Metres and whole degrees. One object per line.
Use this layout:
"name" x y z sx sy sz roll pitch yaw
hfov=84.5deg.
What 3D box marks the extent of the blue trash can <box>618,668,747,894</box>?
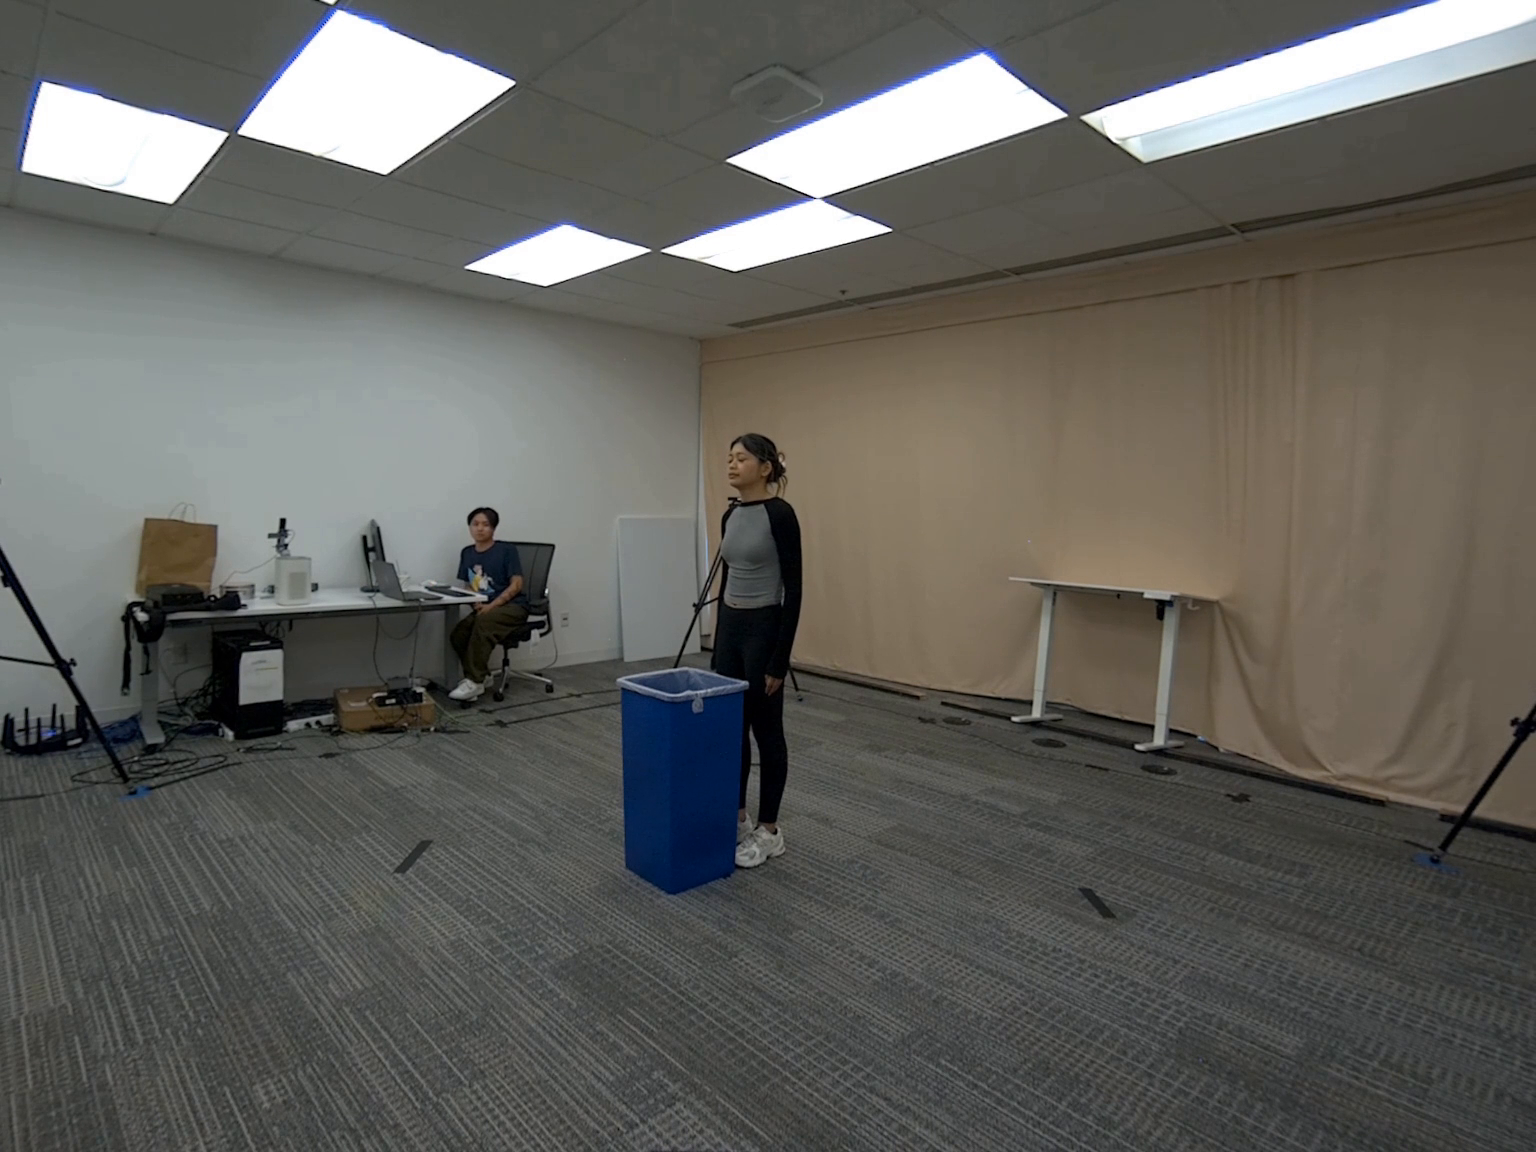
"blue trash can" -0.337 0.743 3.131 0.369 0.712 0.384 -2 5 -43
